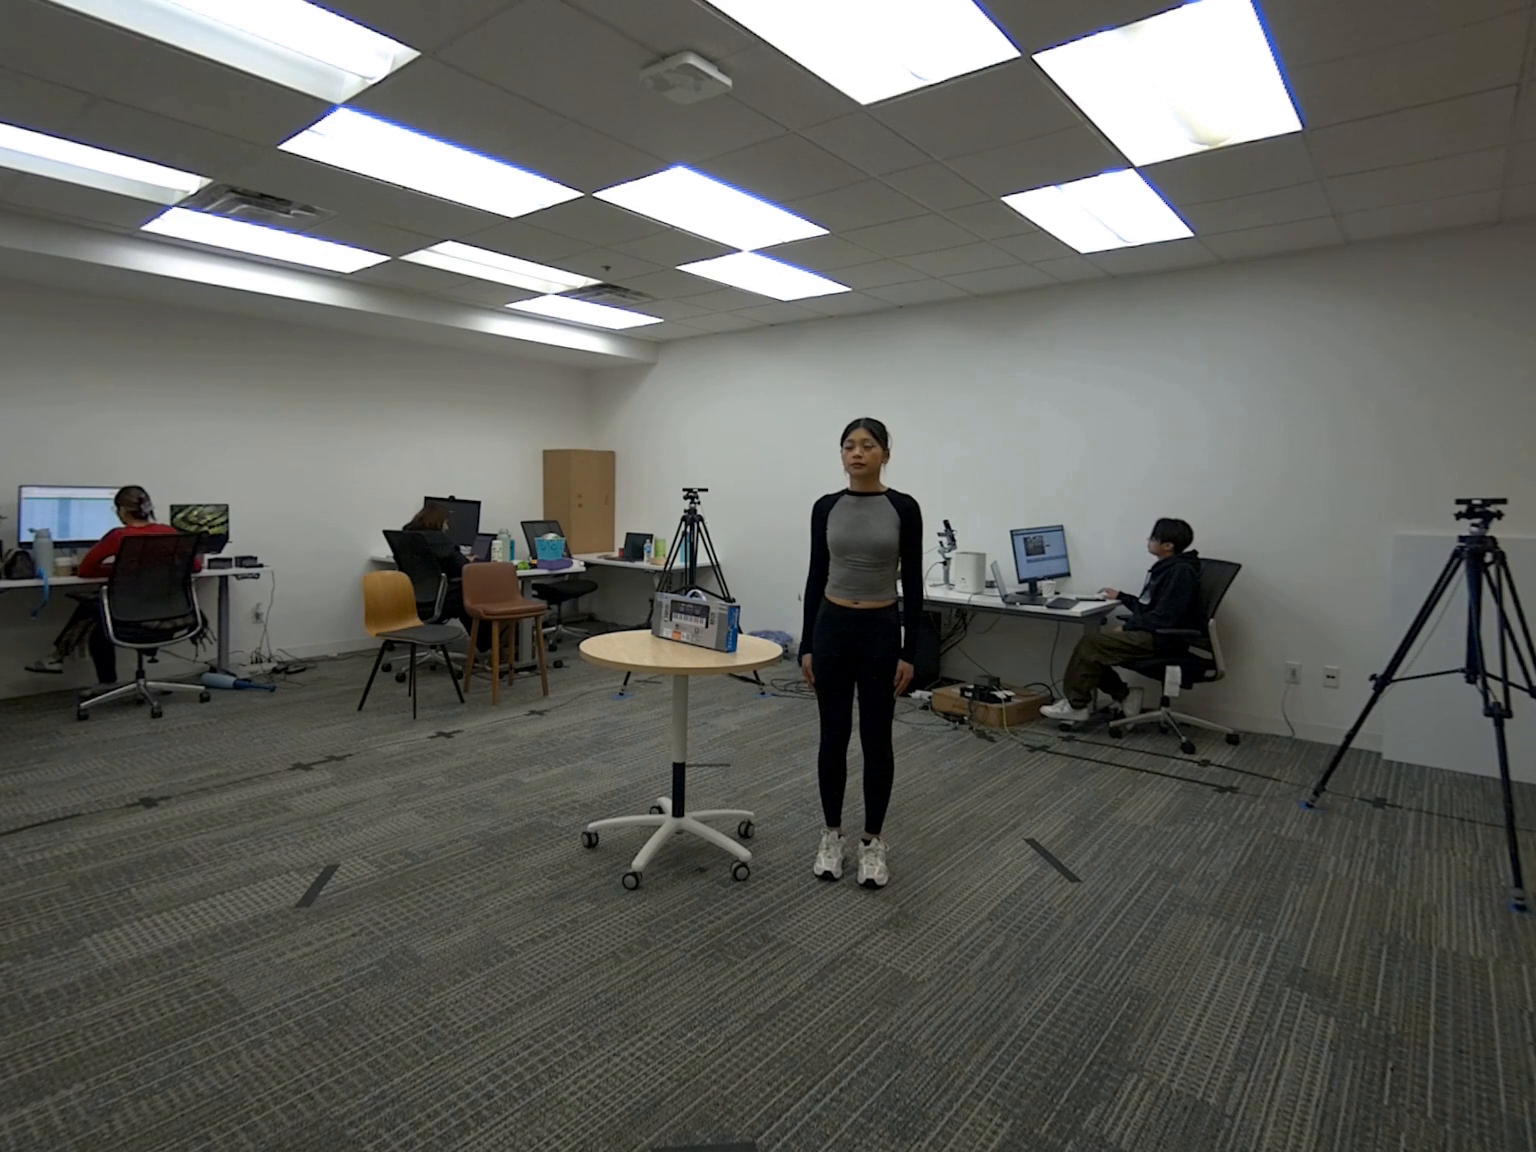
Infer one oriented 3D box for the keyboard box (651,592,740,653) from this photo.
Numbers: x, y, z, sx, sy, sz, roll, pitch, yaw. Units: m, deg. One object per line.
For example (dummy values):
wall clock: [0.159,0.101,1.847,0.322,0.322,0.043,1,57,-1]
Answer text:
keyboard box: [-0.299,0.172,3.281,0.057,0.176,0.452,5,2,-45]
